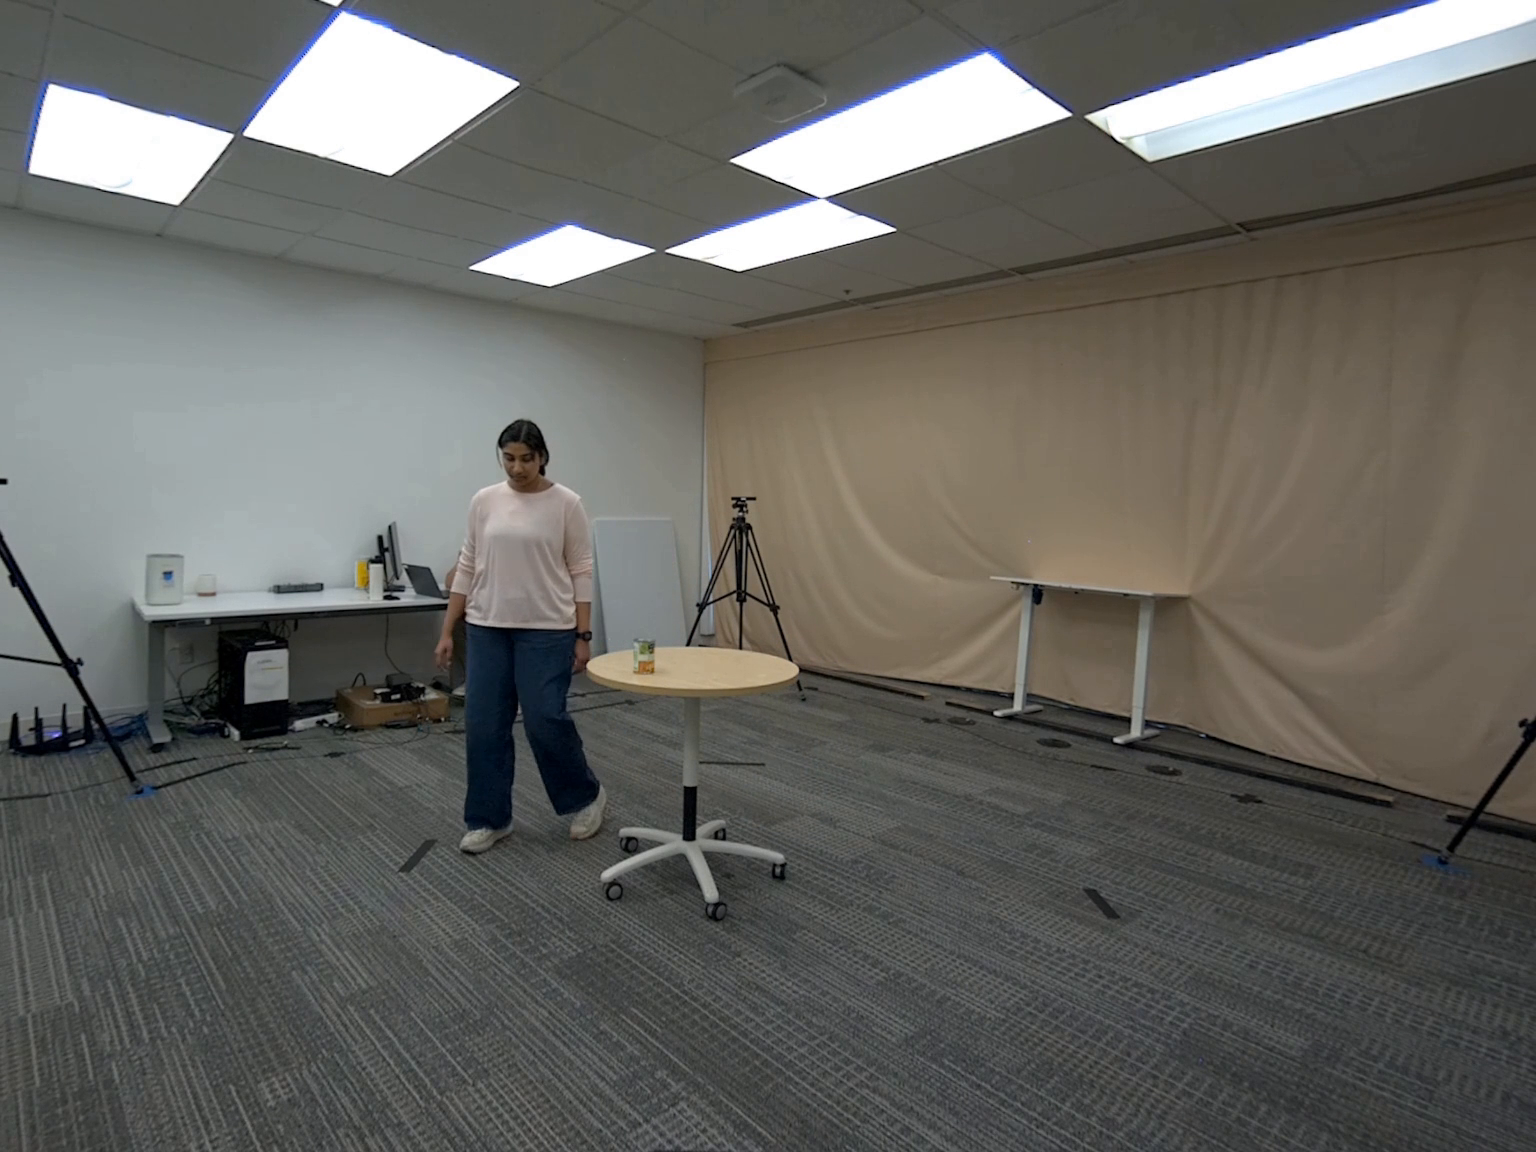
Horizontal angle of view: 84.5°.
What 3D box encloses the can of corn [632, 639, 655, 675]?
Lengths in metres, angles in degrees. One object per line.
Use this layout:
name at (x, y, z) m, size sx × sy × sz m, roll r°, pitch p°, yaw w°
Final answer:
can of corn at (-0.436, 0.279, 2.893) m, size 0.074 × 0.111 × 0.074 m, roll 1°, pitch 3°, yaw -1°
